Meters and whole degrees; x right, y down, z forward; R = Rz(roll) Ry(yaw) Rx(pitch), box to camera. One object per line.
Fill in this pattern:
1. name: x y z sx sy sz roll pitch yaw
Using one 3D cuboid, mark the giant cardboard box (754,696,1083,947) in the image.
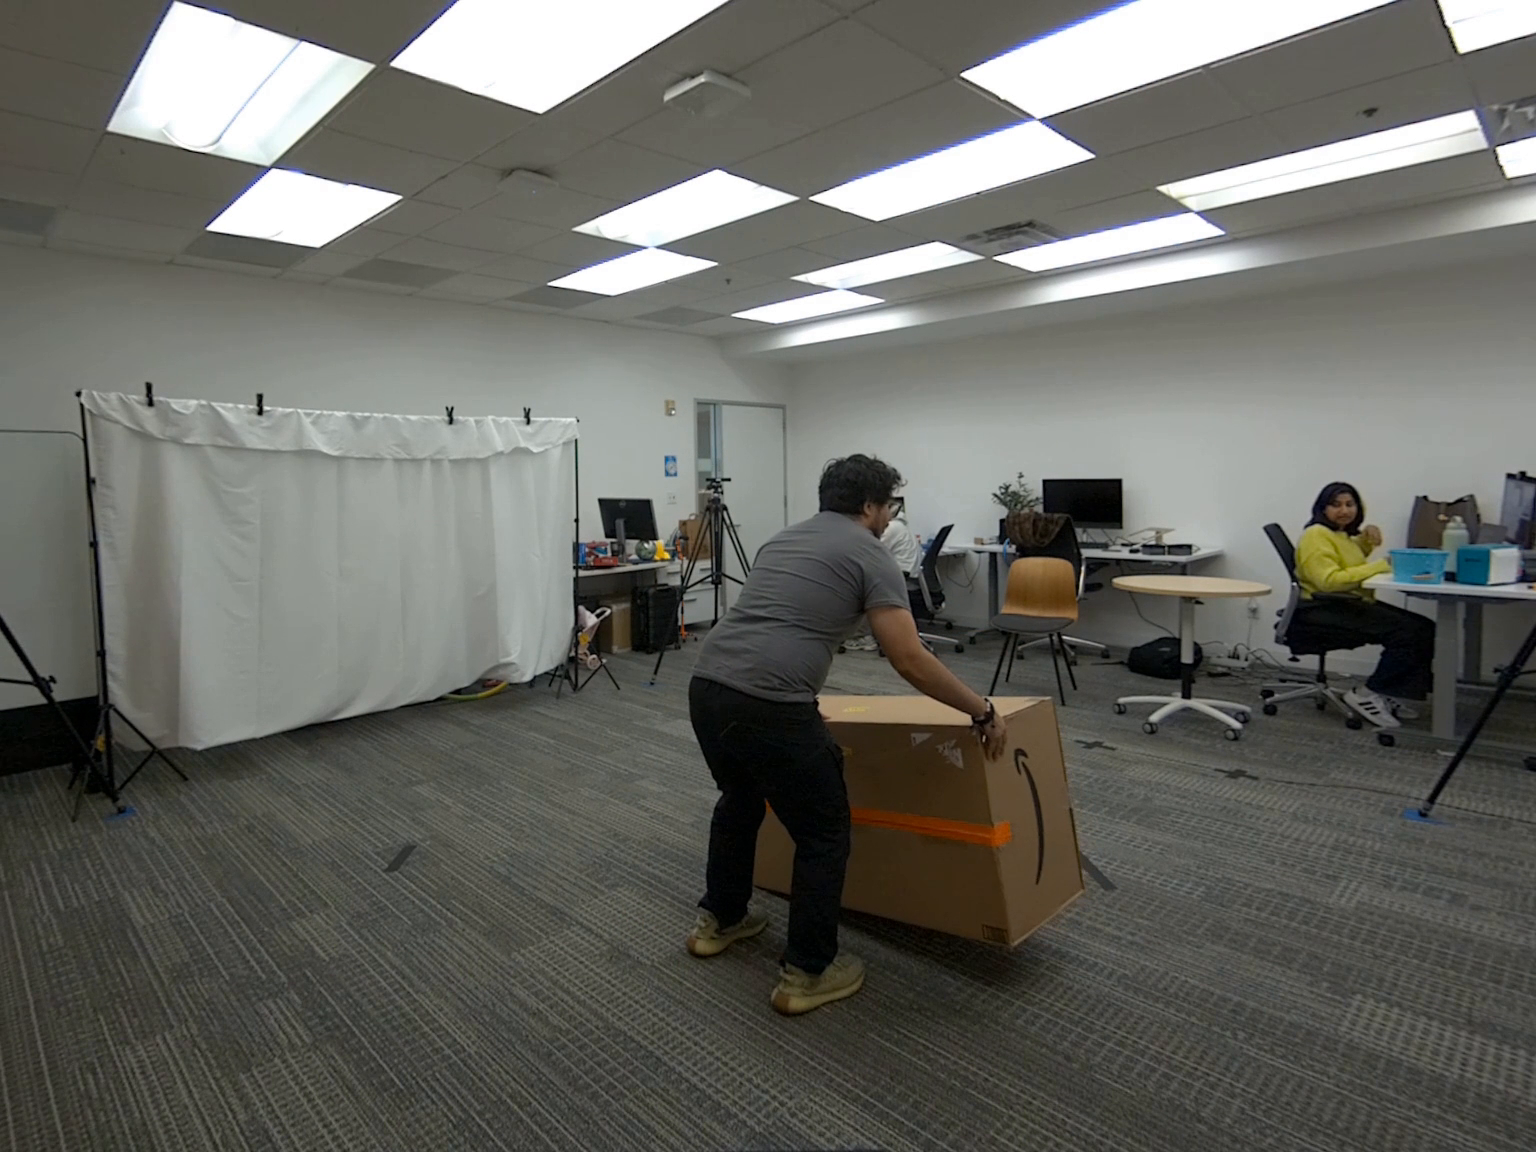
1. giant cardboard box: 0.387 0.716 2.747 0.415 0.579 1.051 -6 -2 -44
